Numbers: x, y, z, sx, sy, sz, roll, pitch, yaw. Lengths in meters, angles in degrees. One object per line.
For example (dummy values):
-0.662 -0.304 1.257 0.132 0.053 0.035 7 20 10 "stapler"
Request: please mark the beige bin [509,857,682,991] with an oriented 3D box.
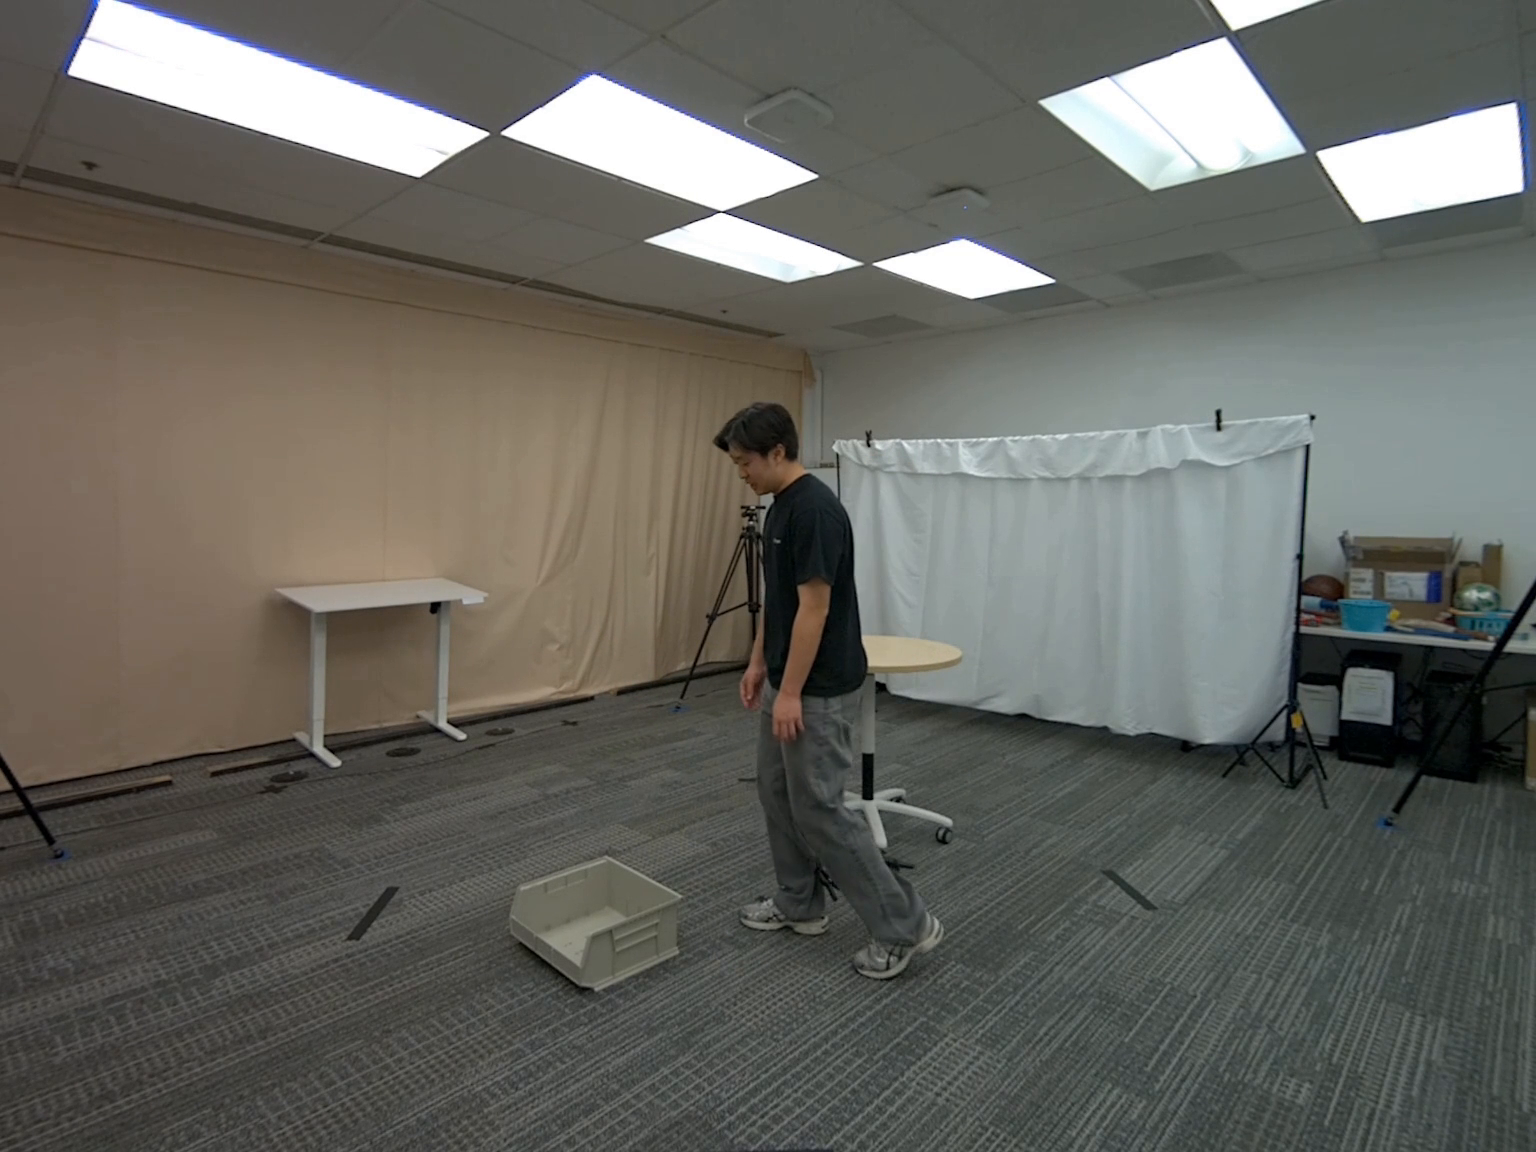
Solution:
-0.546 1.091 2.653 0.366 0.188 0.436 -4 5 -43 "beige bin"
